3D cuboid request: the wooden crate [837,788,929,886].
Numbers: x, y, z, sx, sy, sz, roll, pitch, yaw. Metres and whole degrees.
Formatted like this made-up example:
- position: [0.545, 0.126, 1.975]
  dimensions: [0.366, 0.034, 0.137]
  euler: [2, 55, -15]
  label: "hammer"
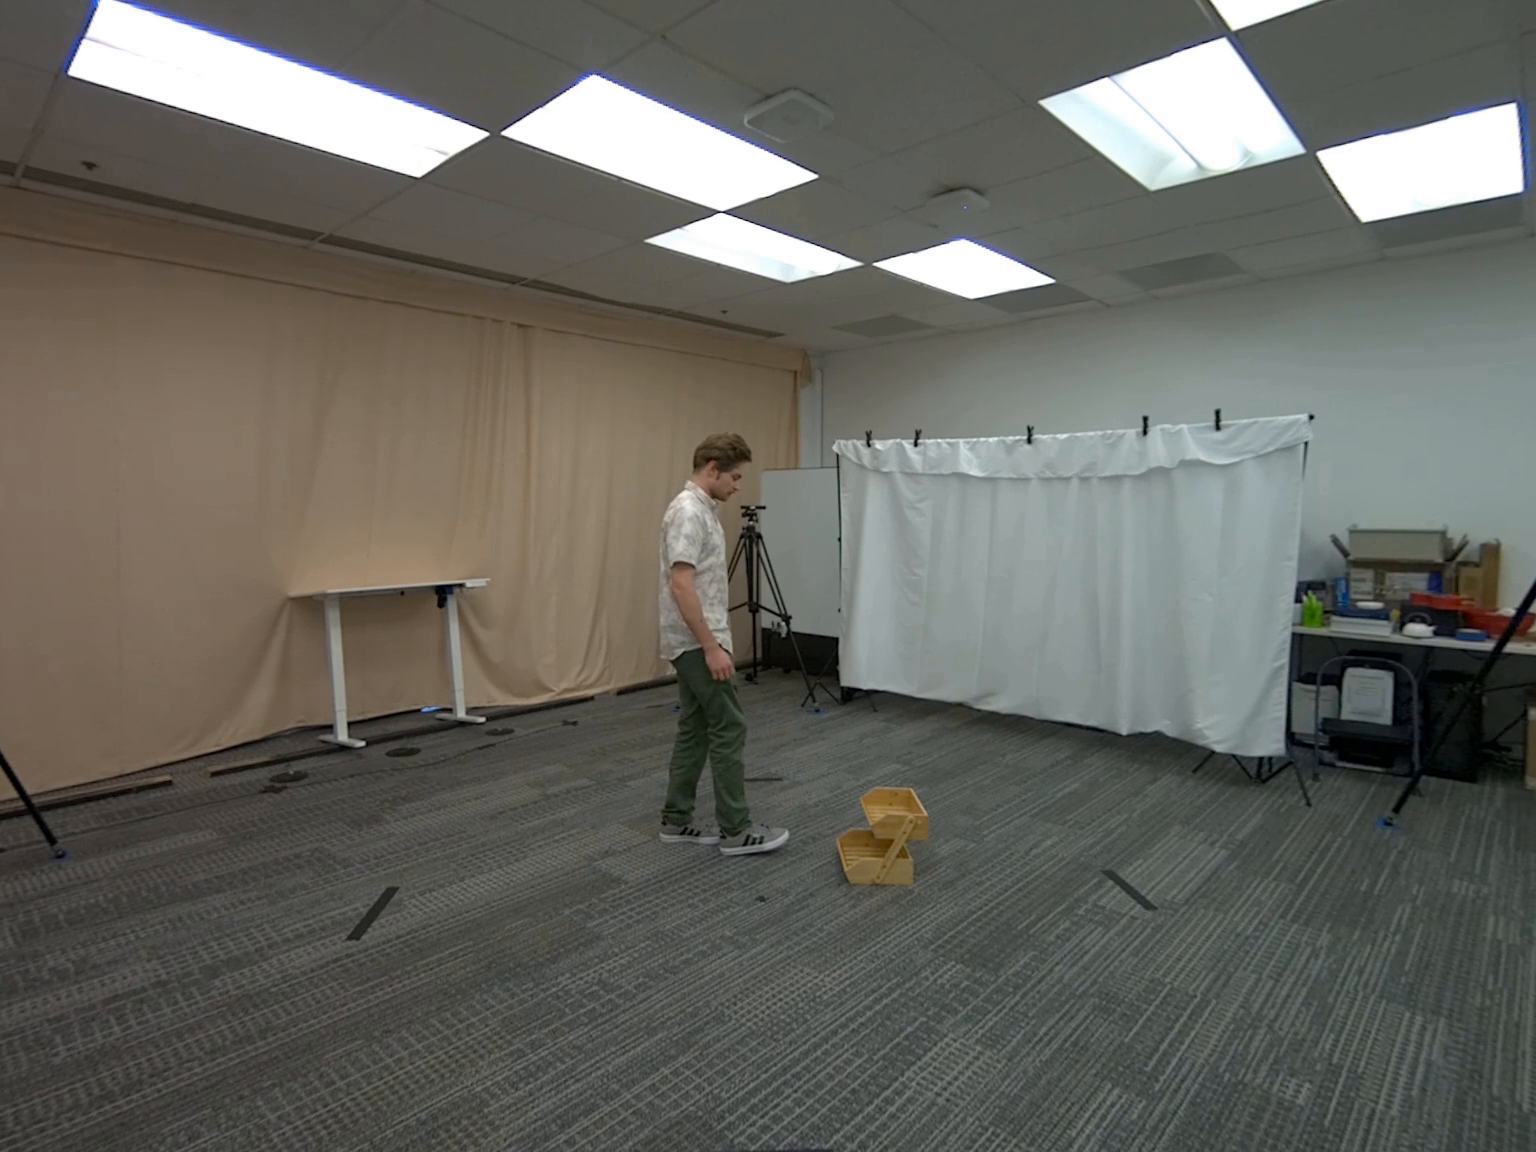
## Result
- position: [0.428, 0.985, 3.237]
  dimensions: [0.302, 0.273, 0.325]
  euler: [1, 4, 0]
  label: "wooden crate"
